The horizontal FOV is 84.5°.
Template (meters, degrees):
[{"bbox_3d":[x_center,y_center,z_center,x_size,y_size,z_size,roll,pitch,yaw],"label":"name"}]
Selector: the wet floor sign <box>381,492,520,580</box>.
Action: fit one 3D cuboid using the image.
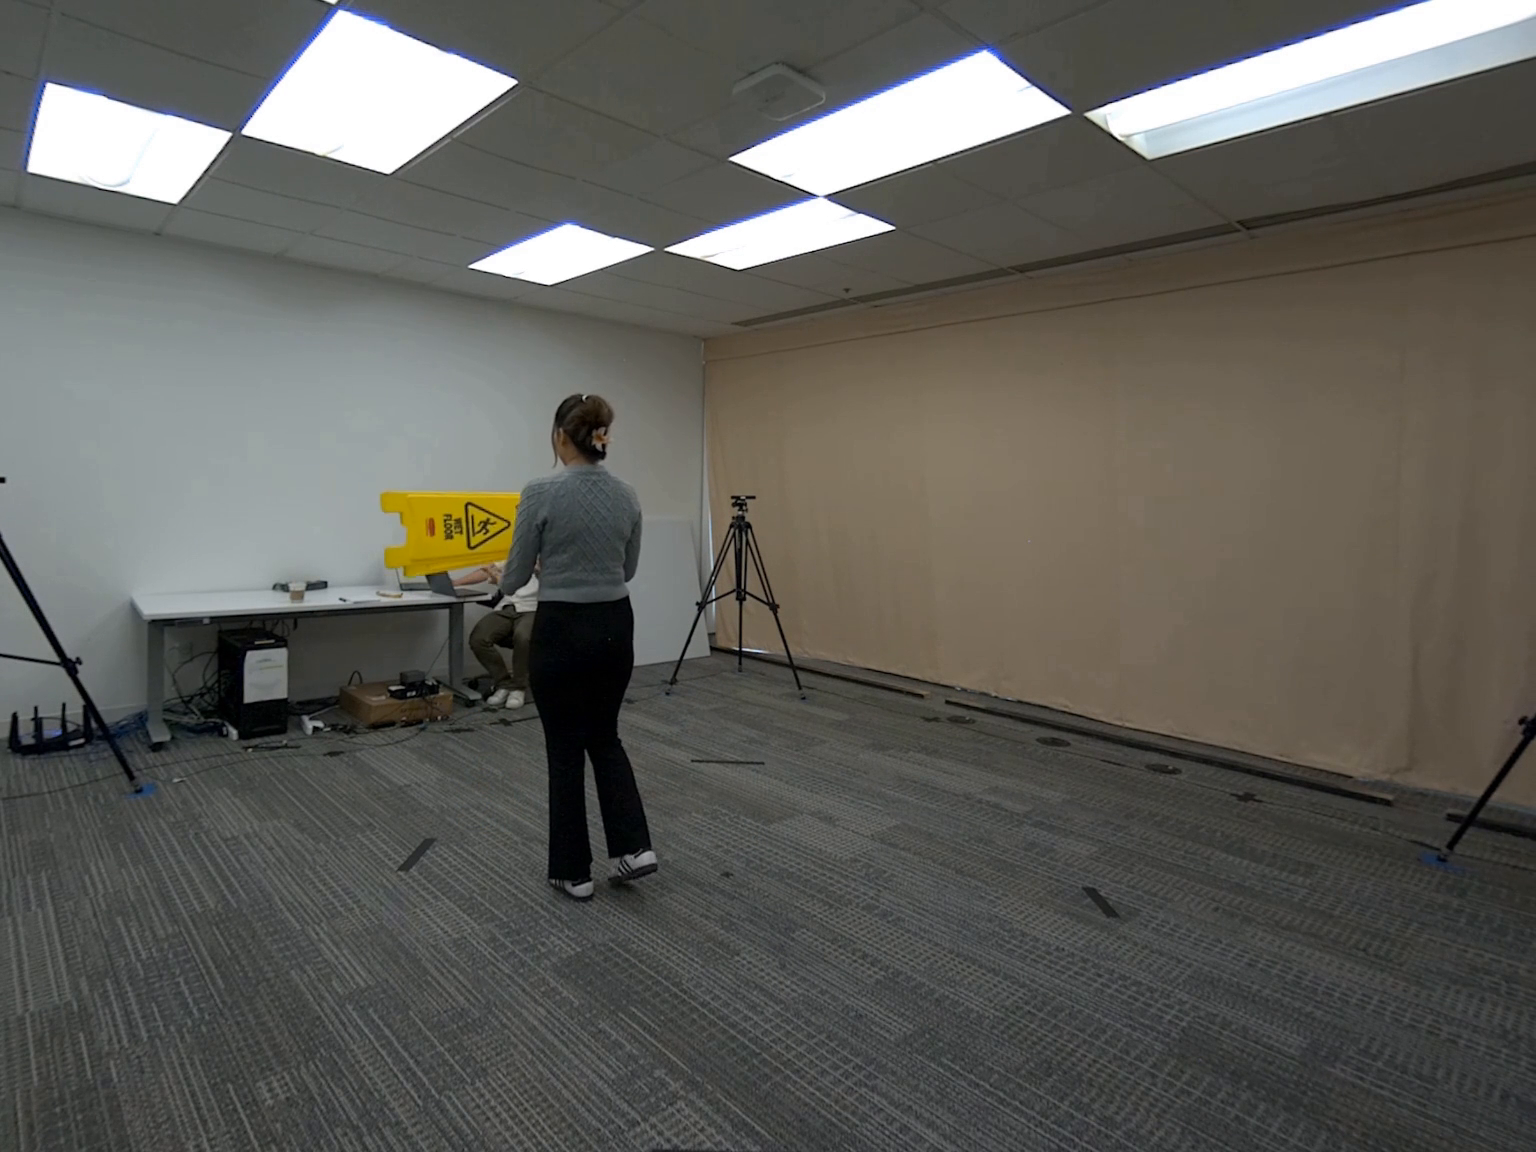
[{"bbox_3d":[-1.071,-0.172,3.164,0.641,0.284,0.290,-6,-6,-11],"label":"wet floor sign"}]
